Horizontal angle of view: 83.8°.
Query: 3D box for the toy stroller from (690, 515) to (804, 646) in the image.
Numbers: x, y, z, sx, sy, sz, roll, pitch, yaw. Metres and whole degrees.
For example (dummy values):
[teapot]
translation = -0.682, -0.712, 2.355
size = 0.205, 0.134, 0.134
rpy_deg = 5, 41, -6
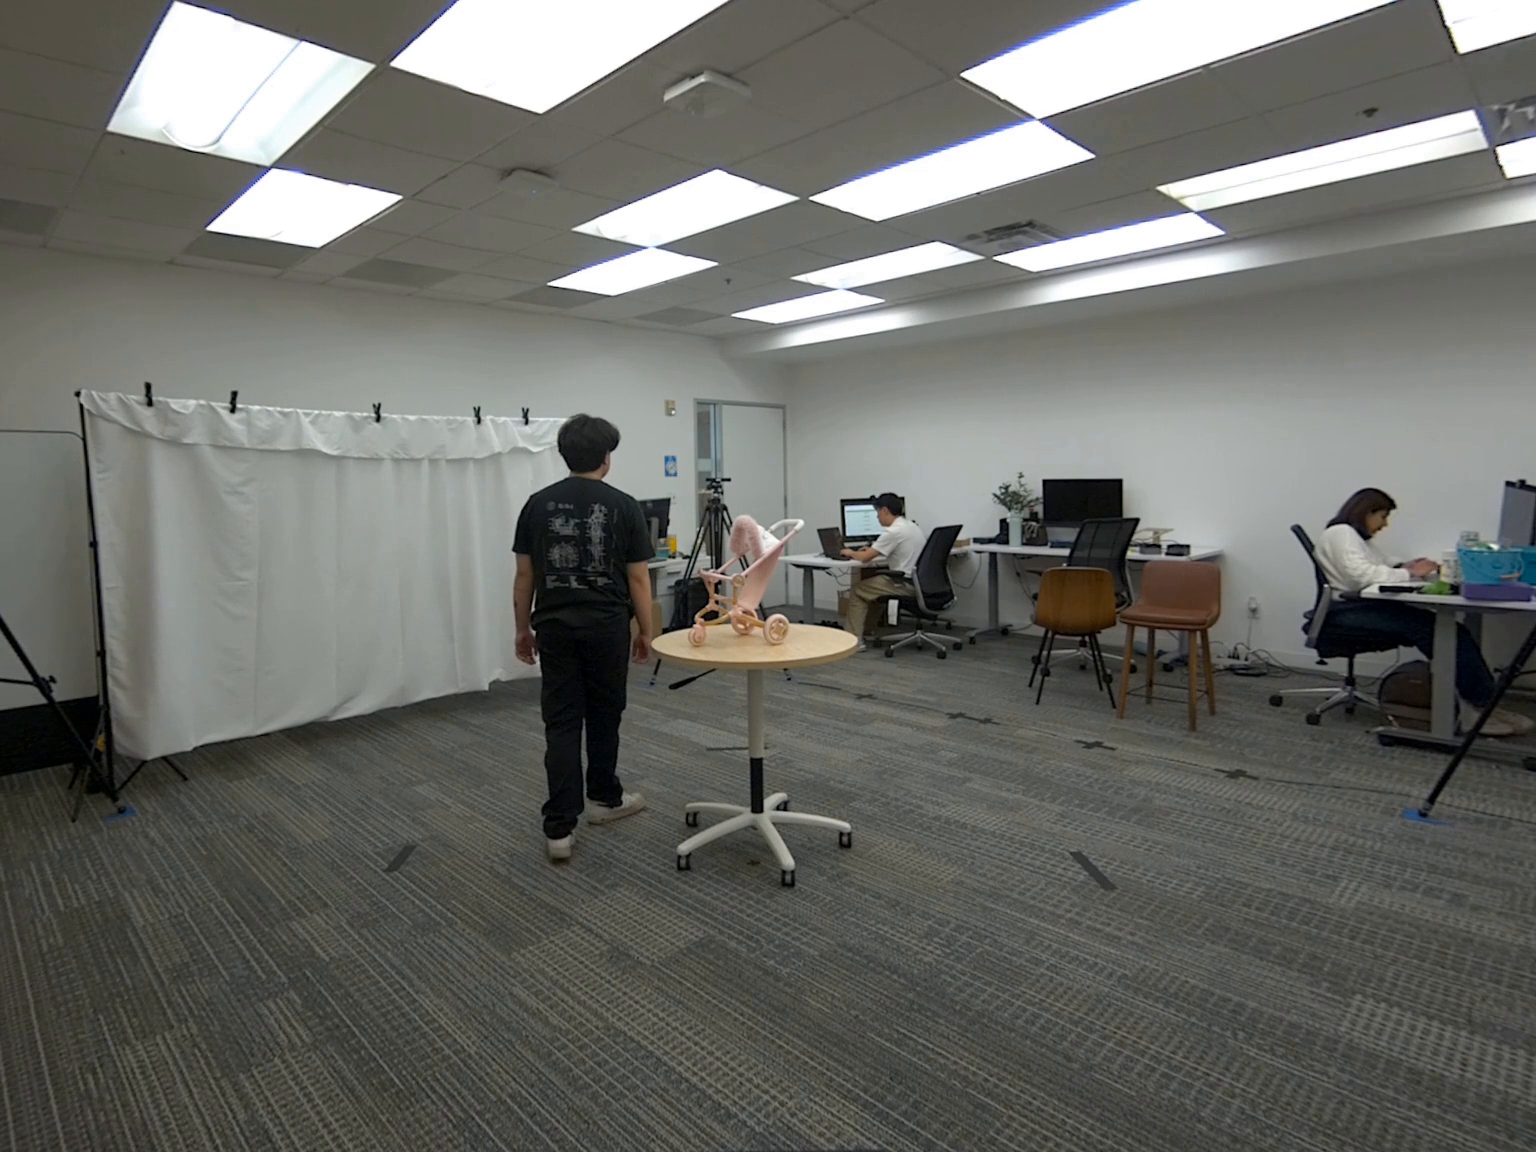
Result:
[toy stroller]
translation = -0.094, 0.014, 3.158
size = 0.333, 0.536, 0.288
rpy_deg = 11, -2, -23
